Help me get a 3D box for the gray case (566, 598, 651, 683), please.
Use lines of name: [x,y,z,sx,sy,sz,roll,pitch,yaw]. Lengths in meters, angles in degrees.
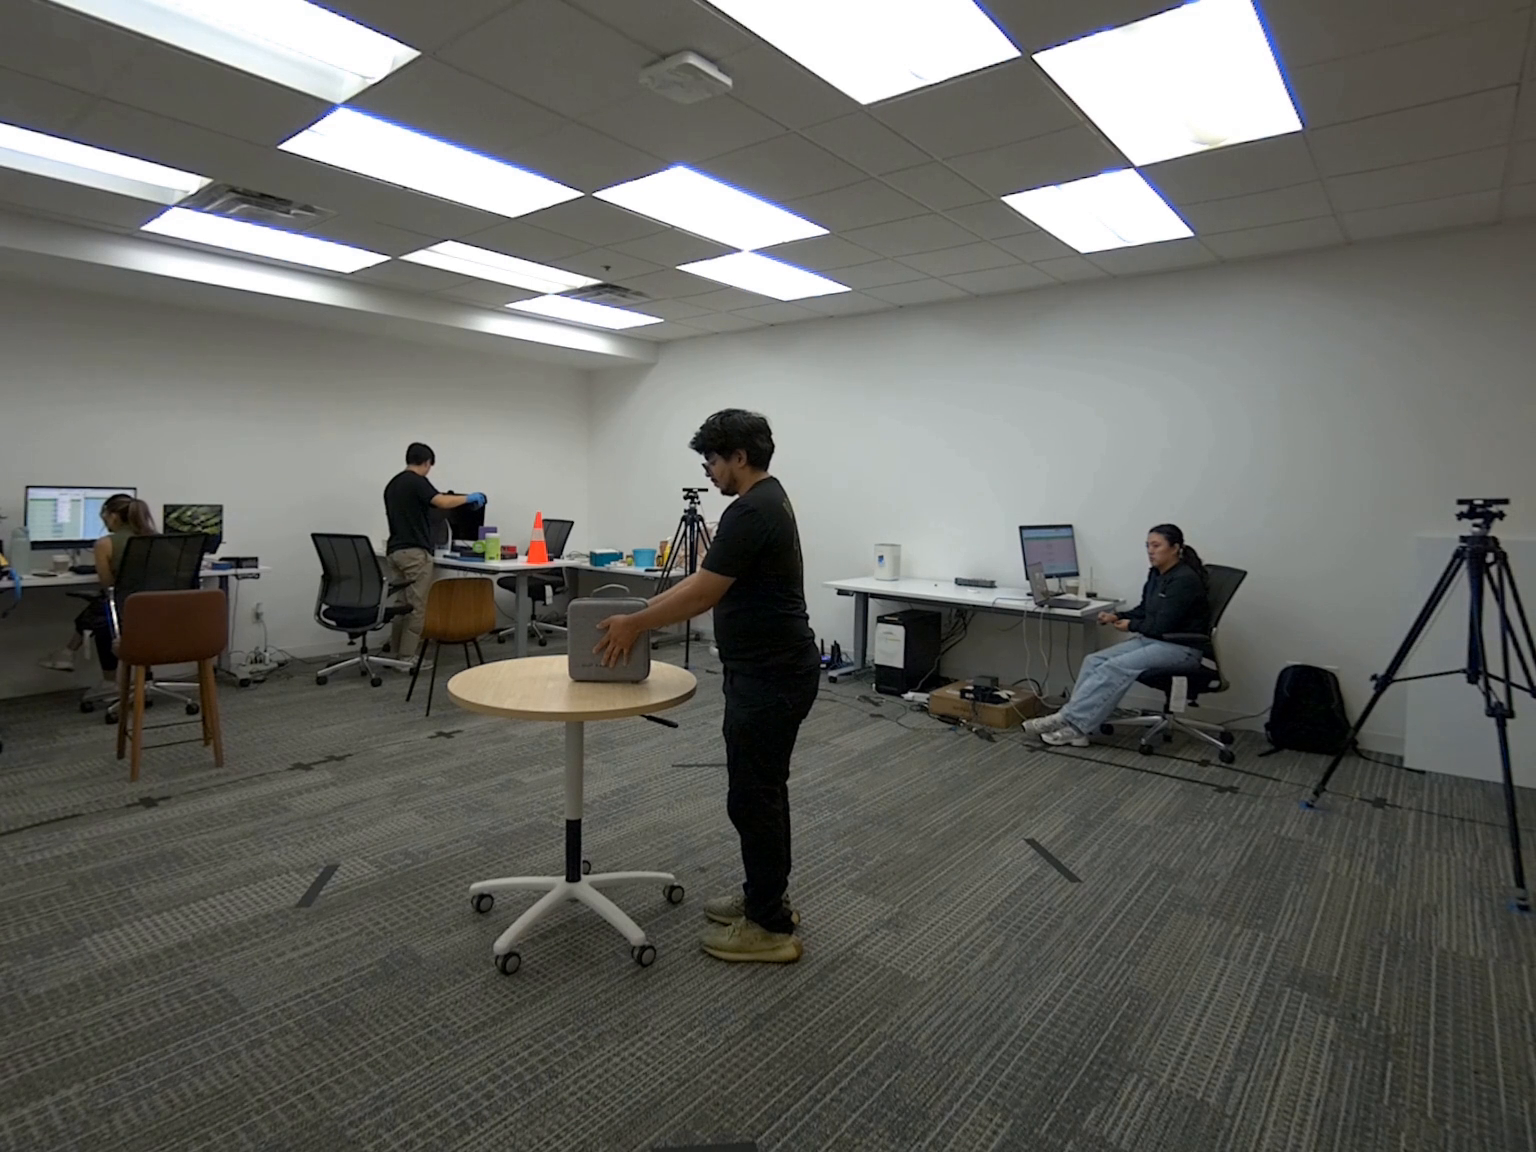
gray case: [-0.513,0.191,2.680,0.257,0.260,0.105,1,3,0]
